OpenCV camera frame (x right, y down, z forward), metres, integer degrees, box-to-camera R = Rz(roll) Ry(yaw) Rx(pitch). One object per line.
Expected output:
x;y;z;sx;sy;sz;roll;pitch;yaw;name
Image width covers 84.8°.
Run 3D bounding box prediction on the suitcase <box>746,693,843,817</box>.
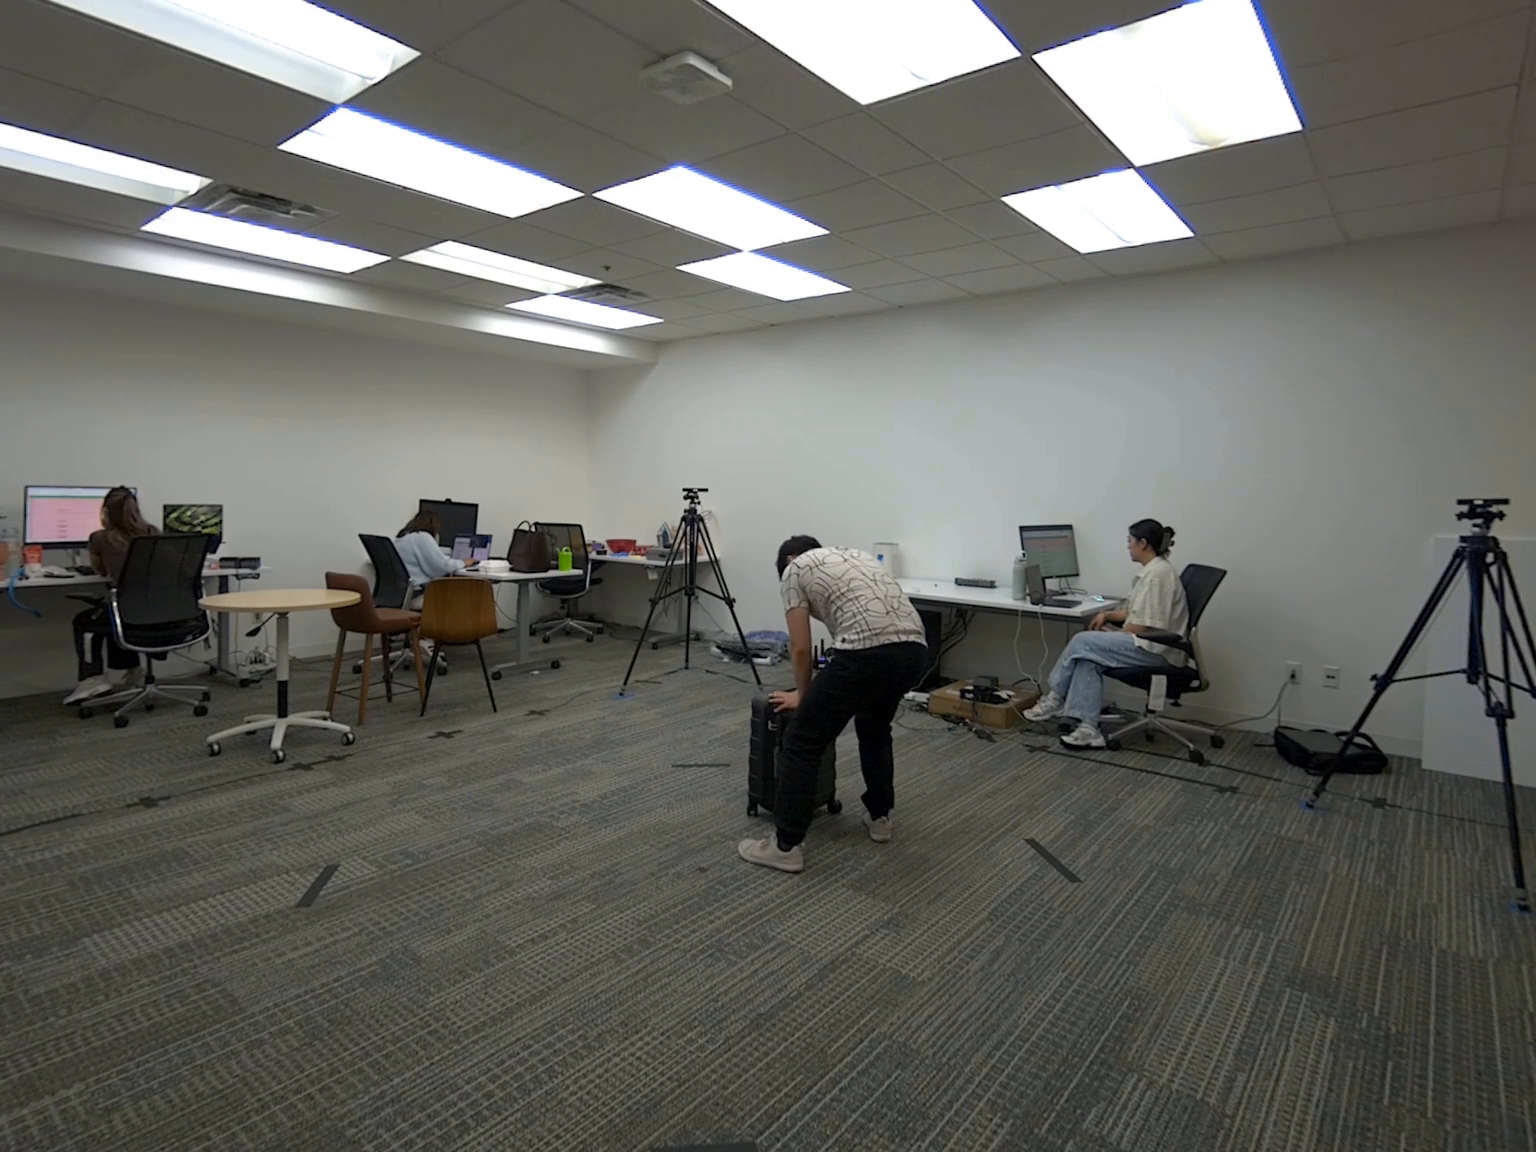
0.094;0.750;3.661;0.256;0.548;0.364;3;4;39;suitcase
